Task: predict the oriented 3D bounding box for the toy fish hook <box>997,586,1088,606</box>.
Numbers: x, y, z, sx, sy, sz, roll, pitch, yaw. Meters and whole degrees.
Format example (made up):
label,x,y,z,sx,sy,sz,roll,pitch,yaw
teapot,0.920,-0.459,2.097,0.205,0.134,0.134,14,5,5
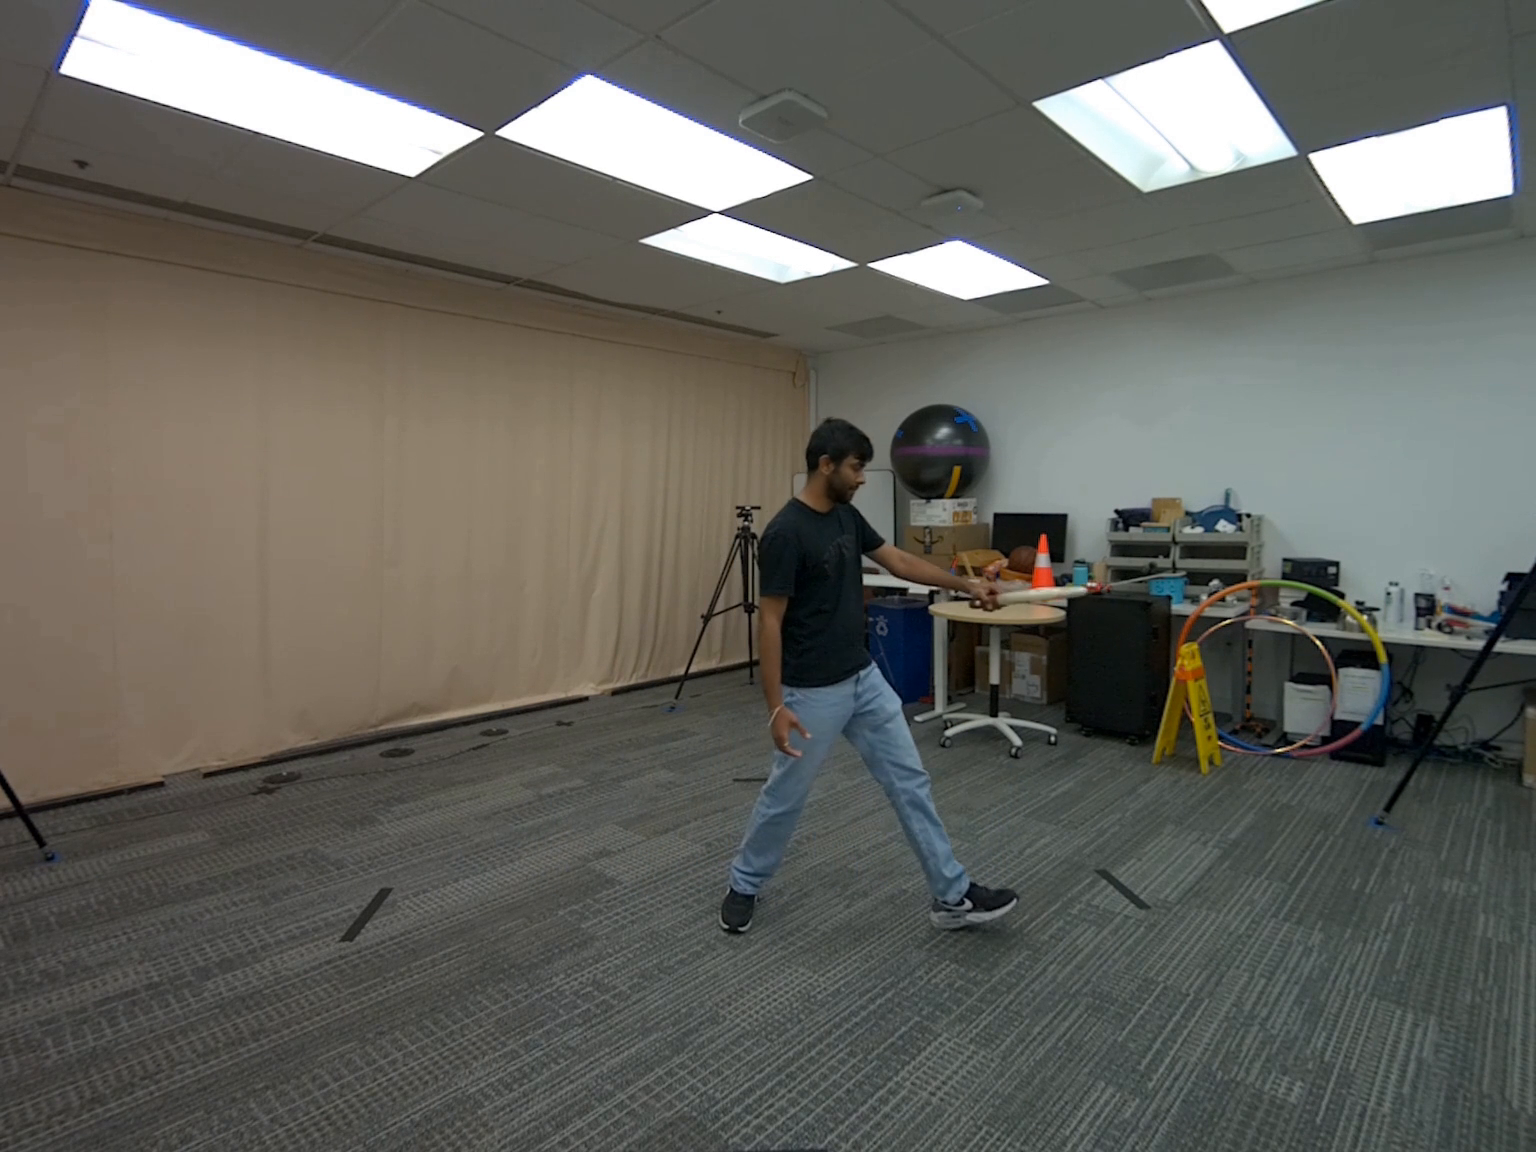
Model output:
label,x,y,z,sx,sy,sz,roll,pitch,yaw
toy fish hook,0.806,0.081,2.617,0.222,0.048,0.510,1,-4,-11
